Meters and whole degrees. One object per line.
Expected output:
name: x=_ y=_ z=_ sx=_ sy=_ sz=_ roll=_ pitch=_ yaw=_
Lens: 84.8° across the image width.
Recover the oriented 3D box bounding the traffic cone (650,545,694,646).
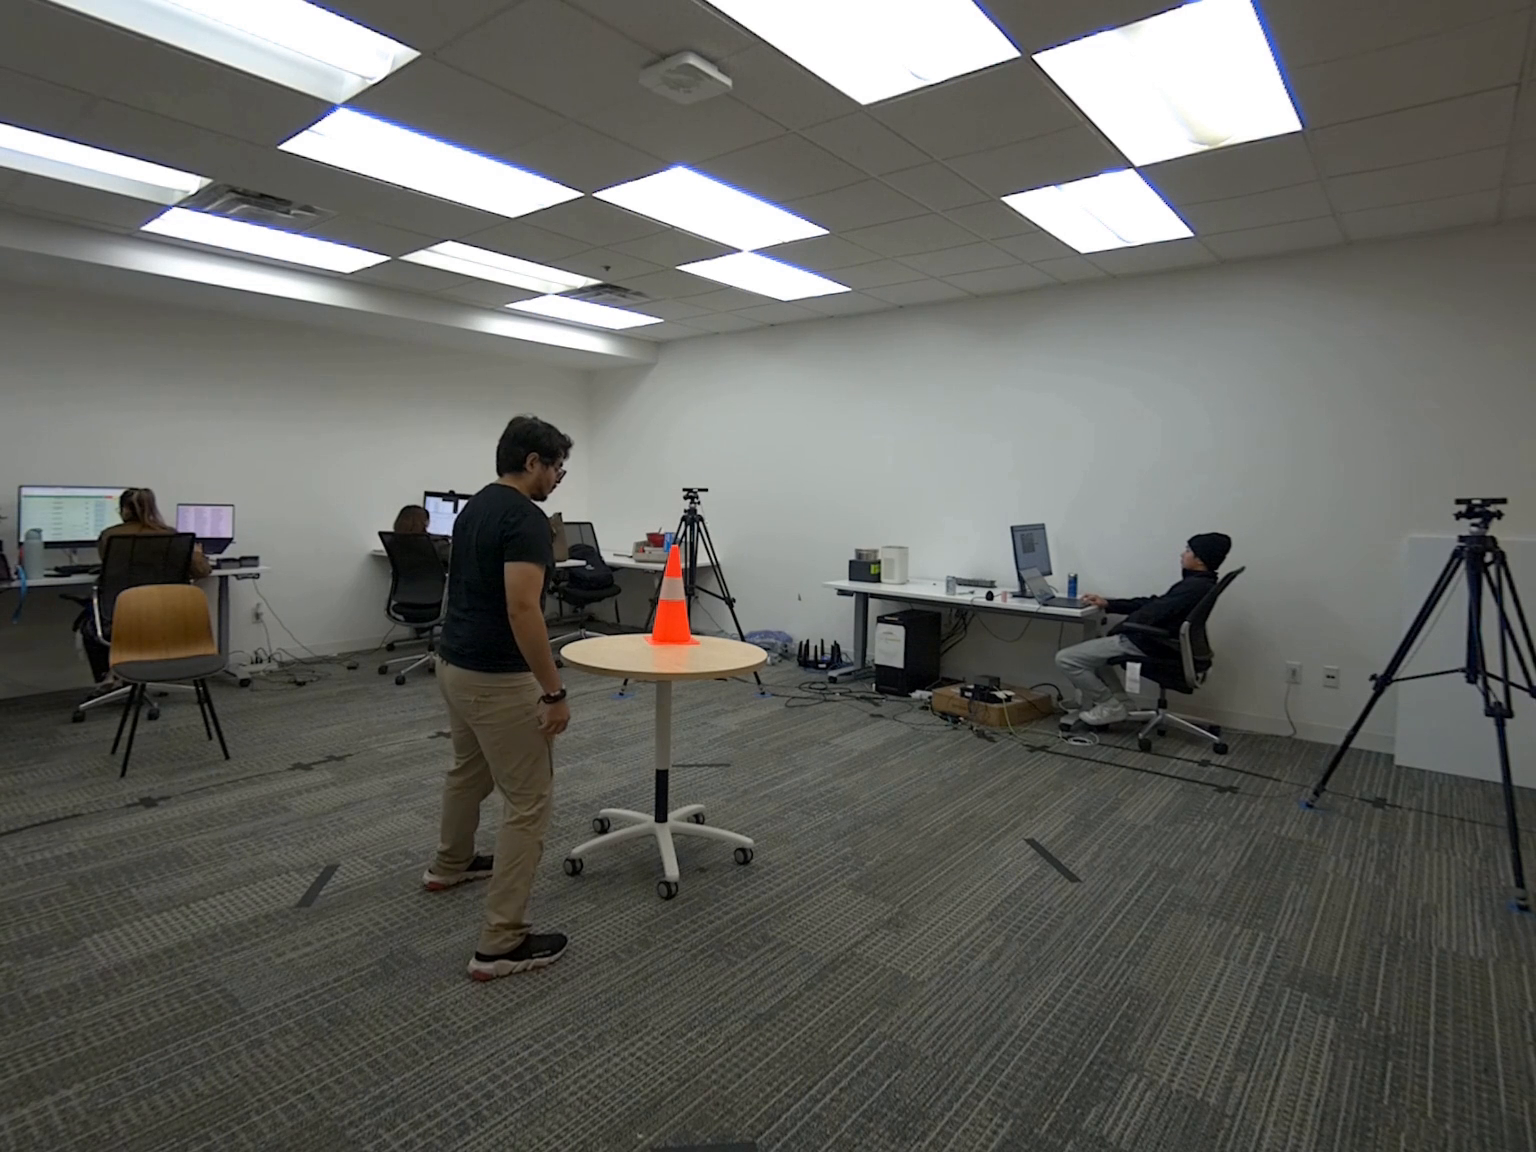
traffic cone: x=-0.395 y=0.070 z=3.392 sx=0.198 sy=0.382 sz=0.211 roll=-2 pitch=6 yaw=-27
